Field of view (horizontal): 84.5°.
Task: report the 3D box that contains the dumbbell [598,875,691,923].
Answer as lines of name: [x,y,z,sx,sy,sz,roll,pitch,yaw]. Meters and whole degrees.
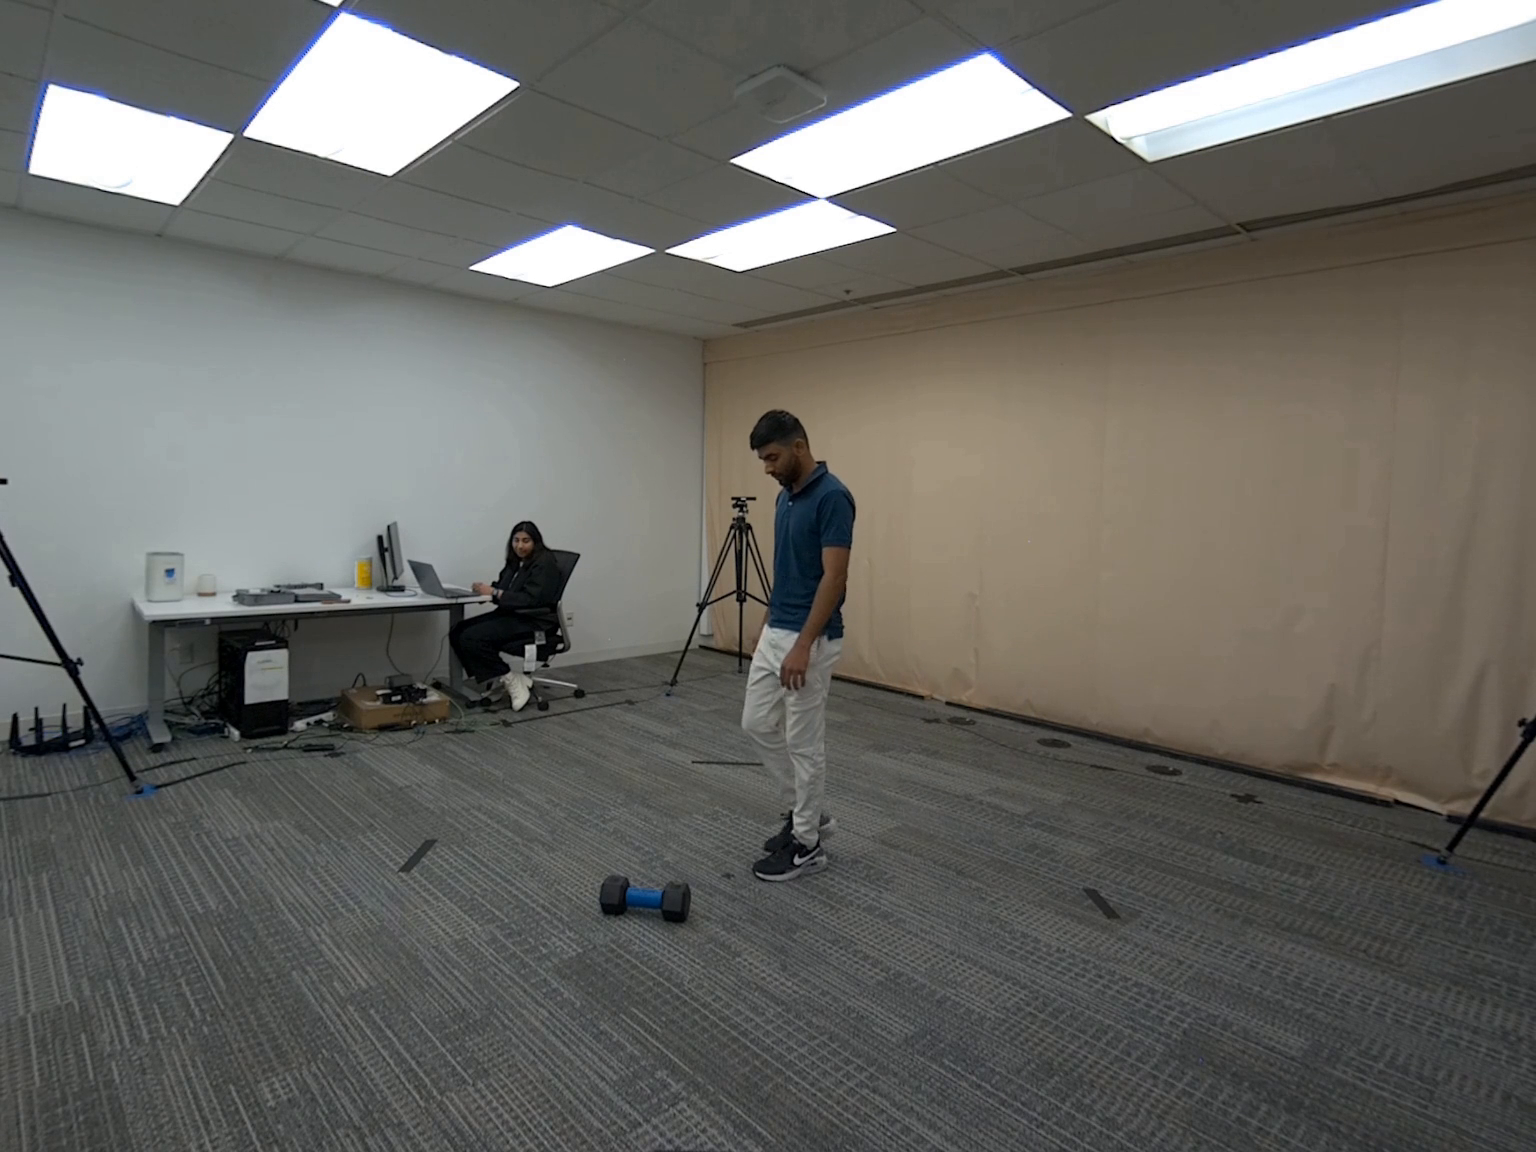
dumbbell: [-0.419,1.077,2.801,0.296,0.125,0.106,2,-25,11]
